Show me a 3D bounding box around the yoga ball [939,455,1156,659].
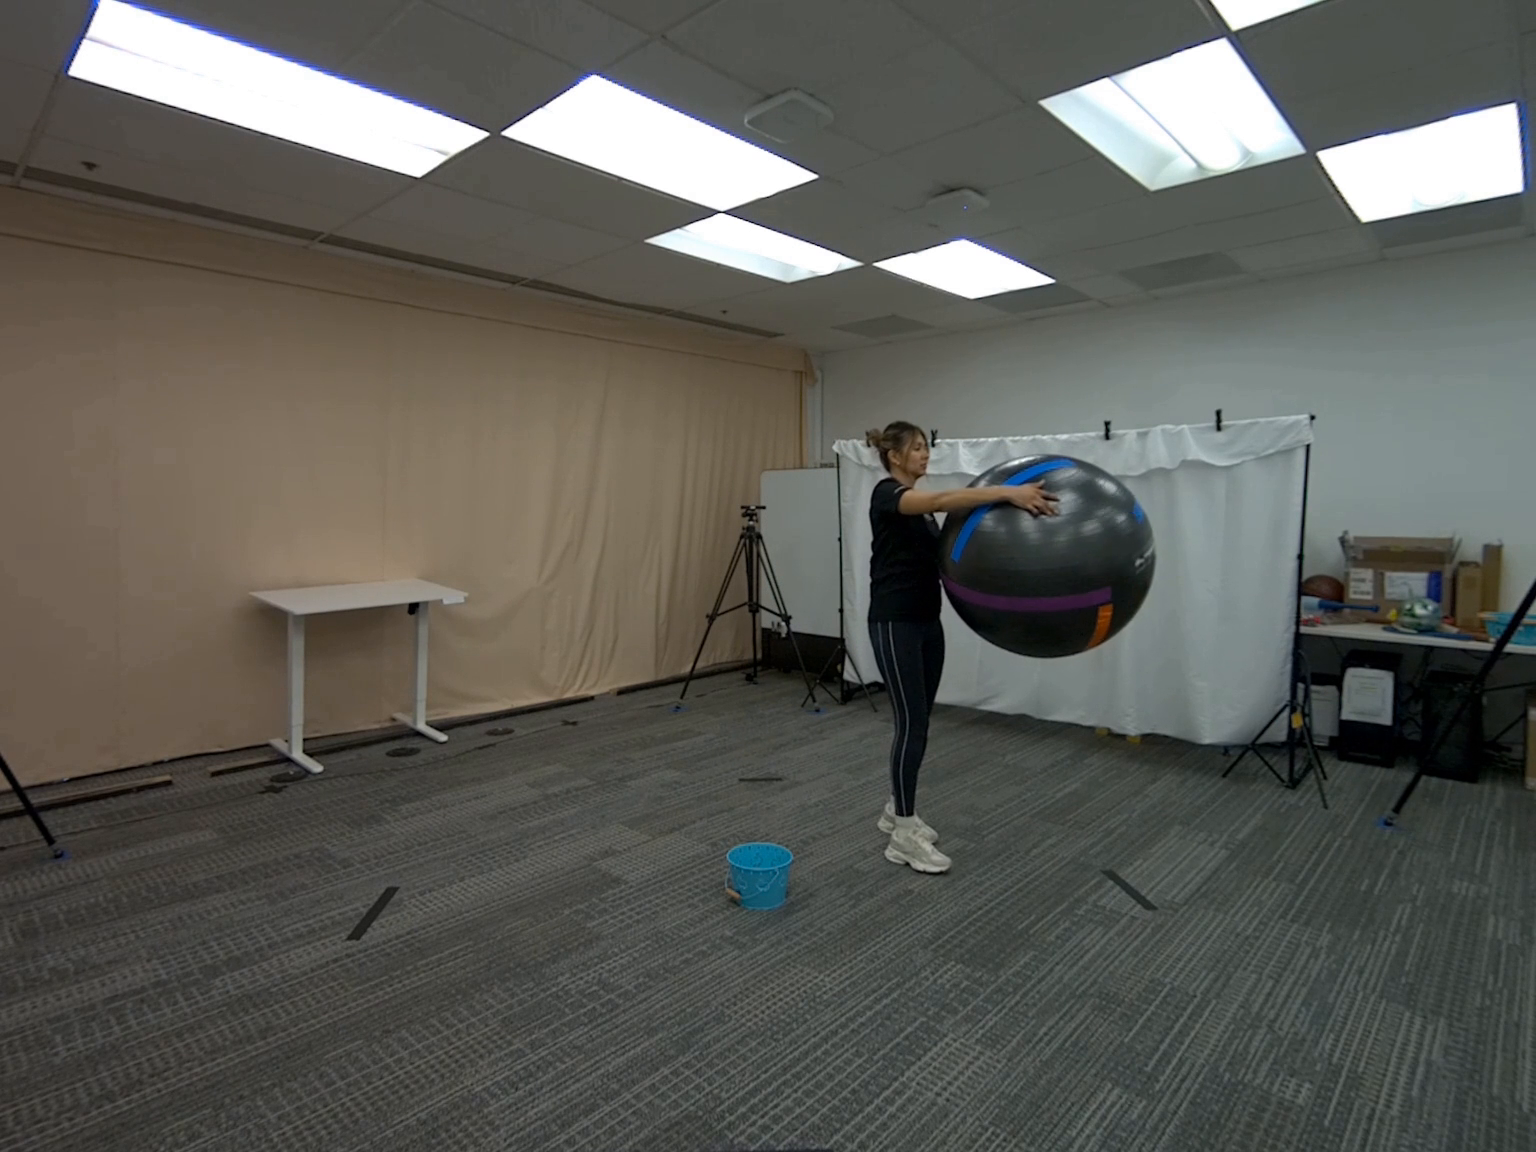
[{"bbox_3d":[1.046,-0.071,3.151,0.757,0.756,0.761,0,4,-2],"label":"yoga ball"}]
